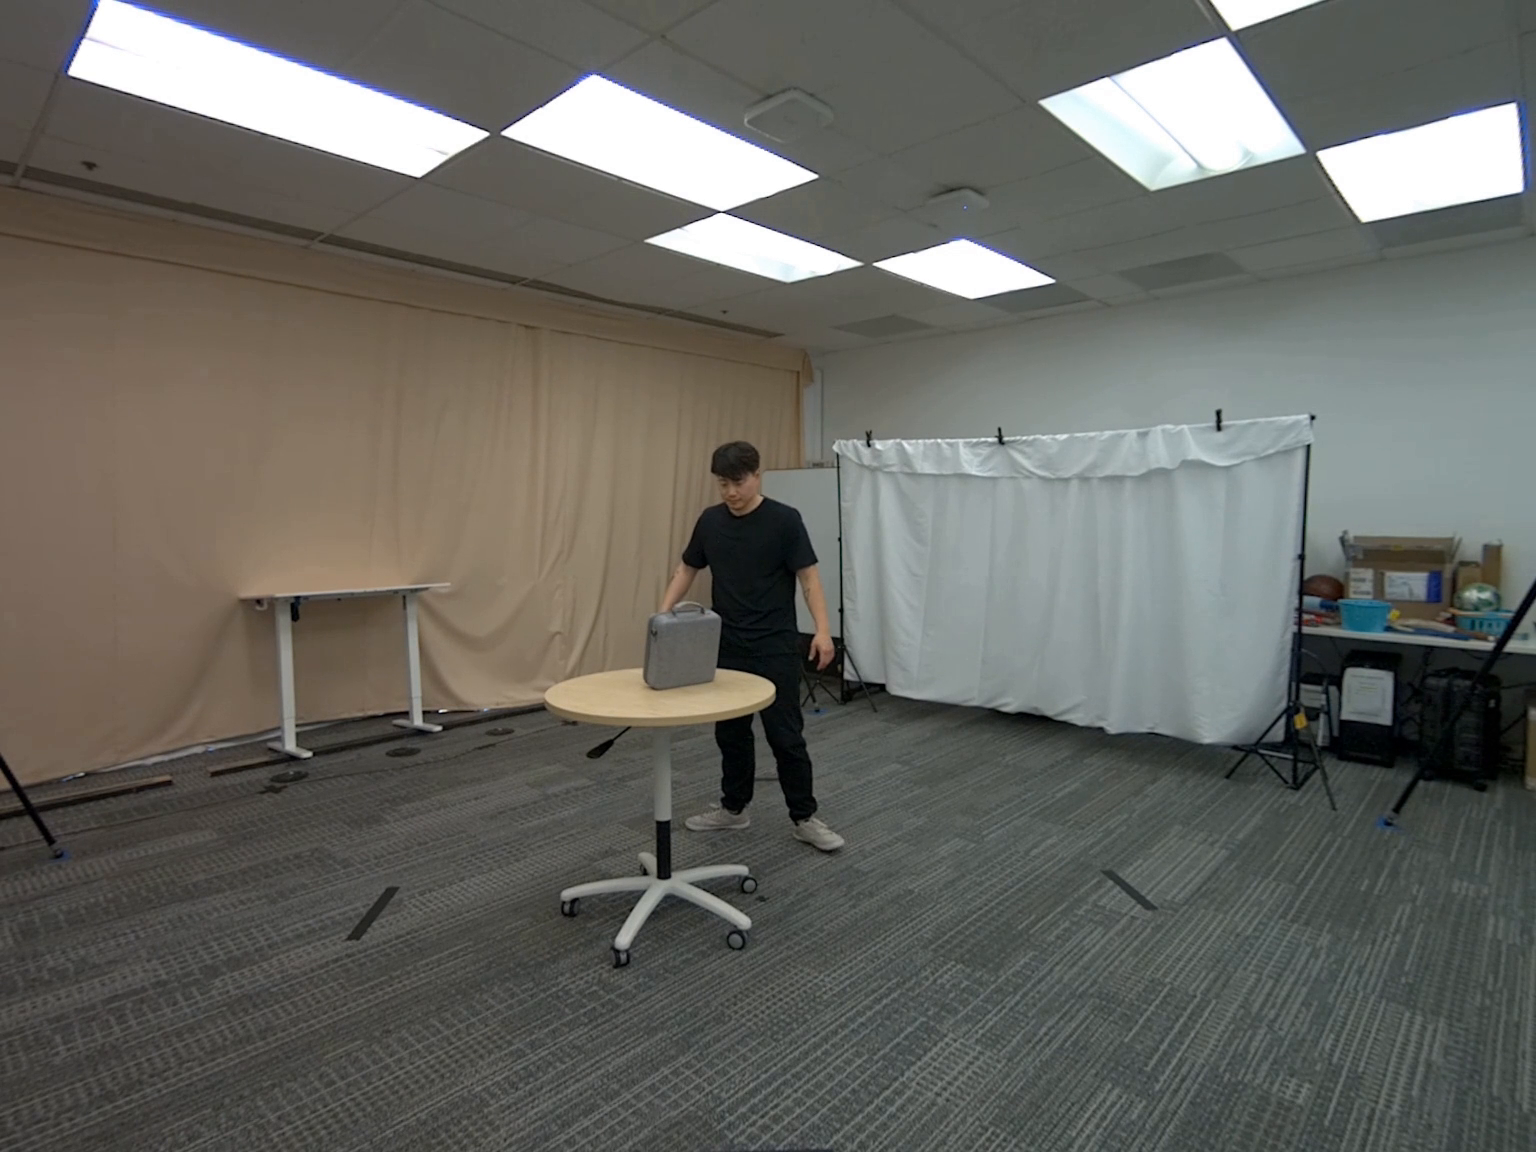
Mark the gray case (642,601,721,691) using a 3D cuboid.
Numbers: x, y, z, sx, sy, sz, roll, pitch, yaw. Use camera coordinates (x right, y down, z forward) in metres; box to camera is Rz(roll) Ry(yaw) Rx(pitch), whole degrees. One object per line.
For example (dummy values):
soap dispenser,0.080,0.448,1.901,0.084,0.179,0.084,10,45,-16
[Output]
gray case,-0.290,0.243,2.859,0.249,0.259,0.108,-4,17,-35
